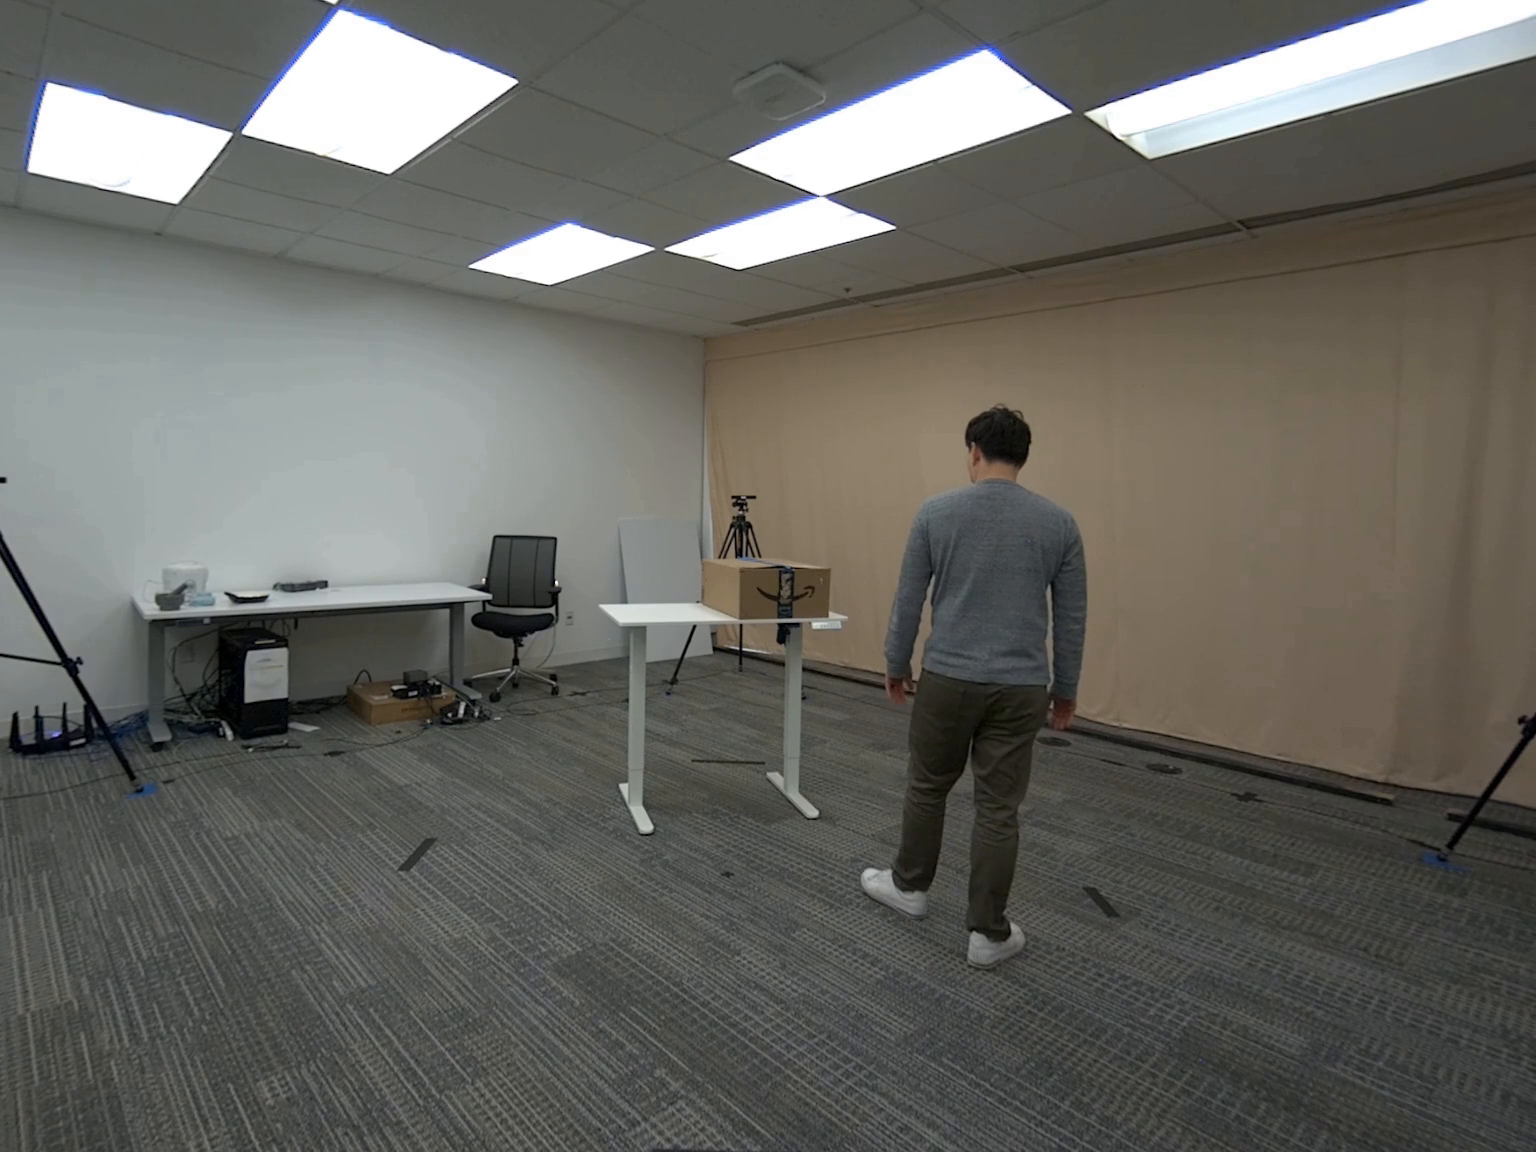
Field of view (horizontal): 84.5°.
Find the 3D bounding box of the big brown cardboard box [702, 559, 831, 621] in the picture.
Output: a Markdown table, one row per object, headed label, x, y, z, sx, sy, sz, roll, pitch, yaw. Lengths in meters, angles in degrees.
| label | x | y | z | sx | sy | sz | roll | pitch | yaw |
| --- | --- | --- | --- | --- | --- | --- | --- | --- | --- |
| big brown cardboard box | -0.035 | 0.049 | 3.831 | 0.411 | 0.232 | 0.599 | -1 | 4 | -20 |
